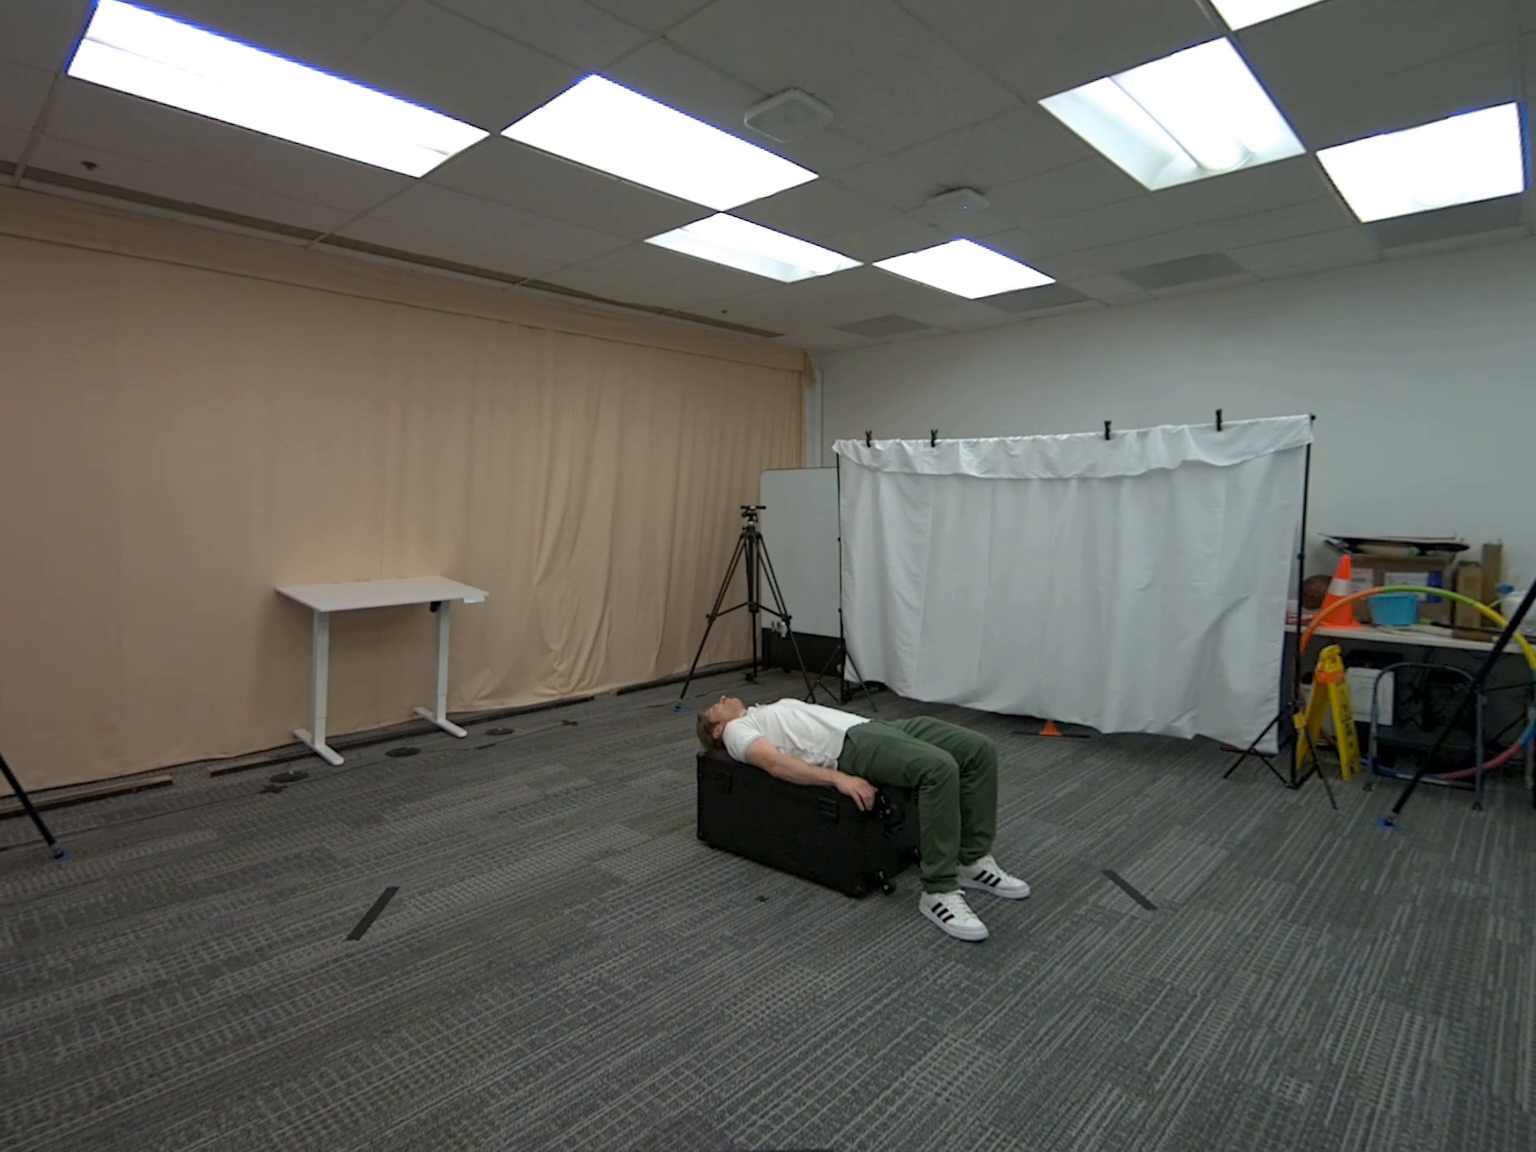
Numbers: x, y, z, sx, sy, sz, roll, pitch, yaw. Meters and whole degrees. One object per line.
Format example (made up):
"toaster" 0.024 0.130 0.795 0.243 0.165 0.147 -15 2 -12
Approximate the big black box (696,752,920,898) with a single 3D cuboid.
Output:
"big black box" 0.191 0.923 3.347 0.897 0.384 0.507 4 5 39
